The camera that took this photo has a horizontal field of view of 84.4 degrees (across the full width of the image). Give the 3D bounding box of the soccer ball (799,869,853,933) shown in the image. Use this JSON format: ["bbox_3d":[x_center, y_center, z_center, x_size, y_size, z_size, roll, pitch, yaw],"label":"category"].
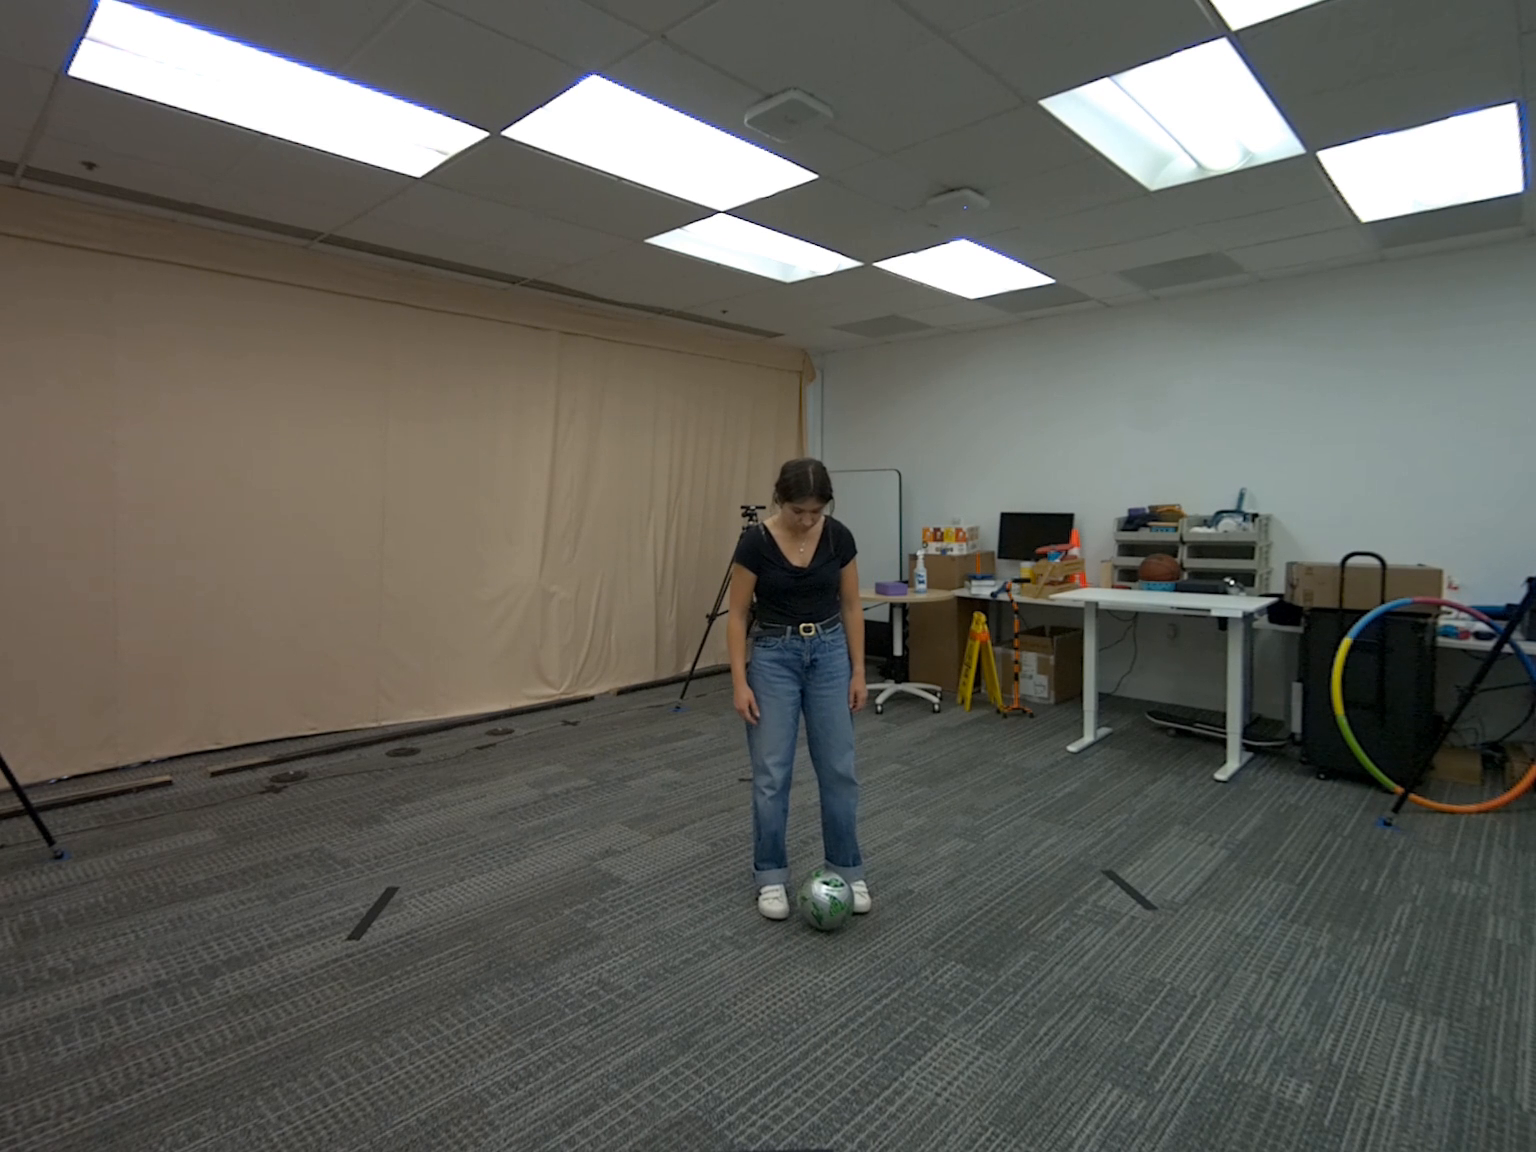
[{"bbox_3d":[0.191,1.071,2.774,0.187,0.187,0.188,0,4,-2],"label":"soccer ball"}]
